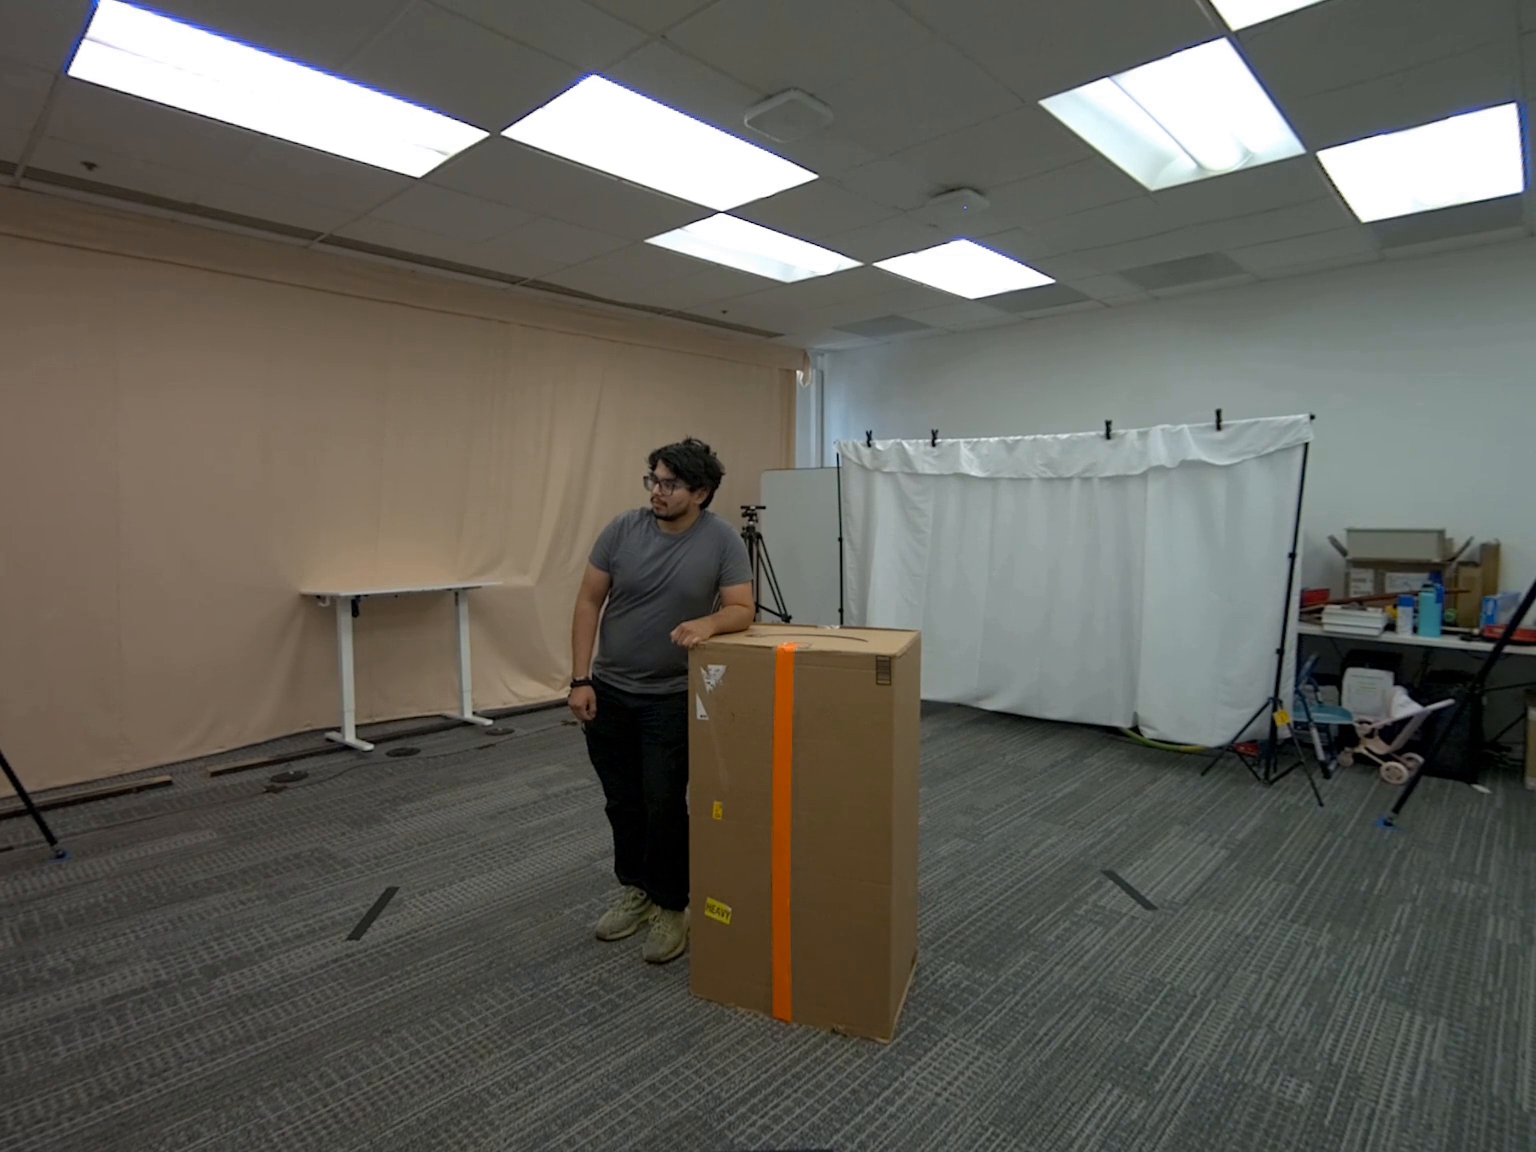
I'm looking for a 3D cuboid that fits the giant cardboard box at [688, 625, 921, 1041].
[{"bbox_3d":[0.125,0.682,2.441,0.591,1.024,0.417,1,3,23],"label":"giant cardboard box"}]
